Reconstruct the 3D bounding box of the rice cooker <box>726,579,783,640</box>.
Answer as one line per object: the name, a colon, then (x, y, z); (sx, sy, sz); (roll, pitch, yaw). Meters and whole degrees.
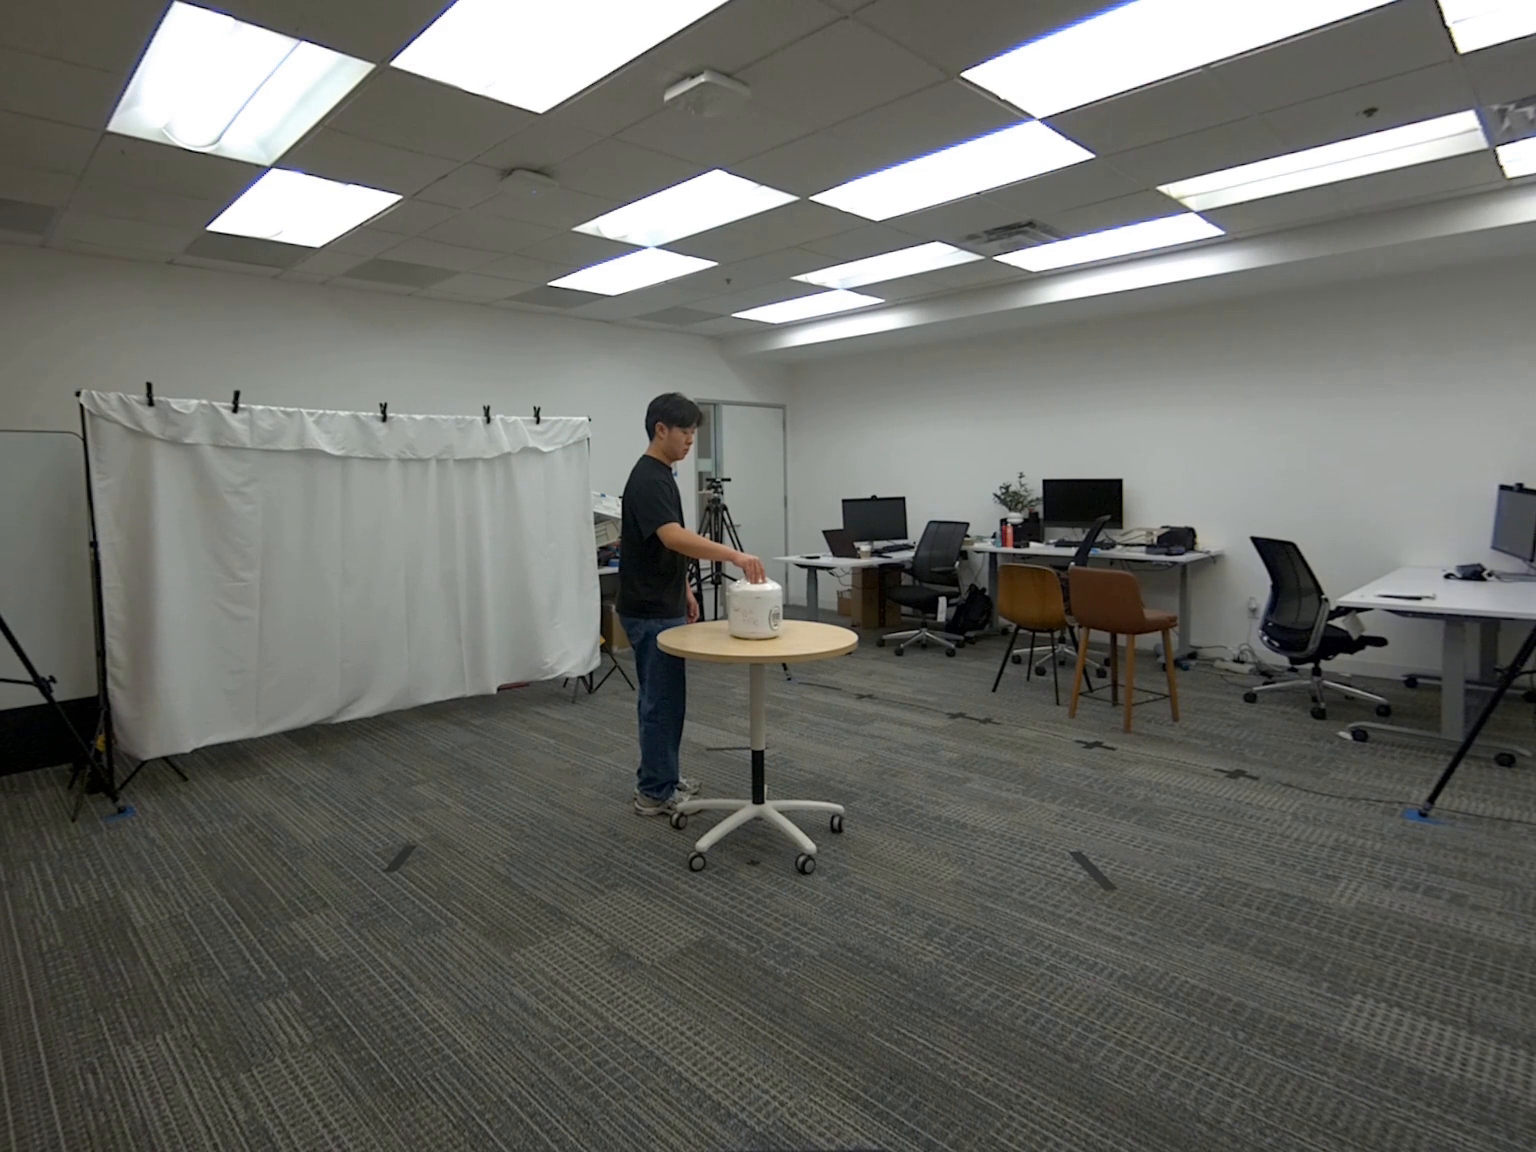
rice cooker: (-0.043, 0.113, 3.255); (0.224, 0.232, 0.215); (2, 5, 44)
